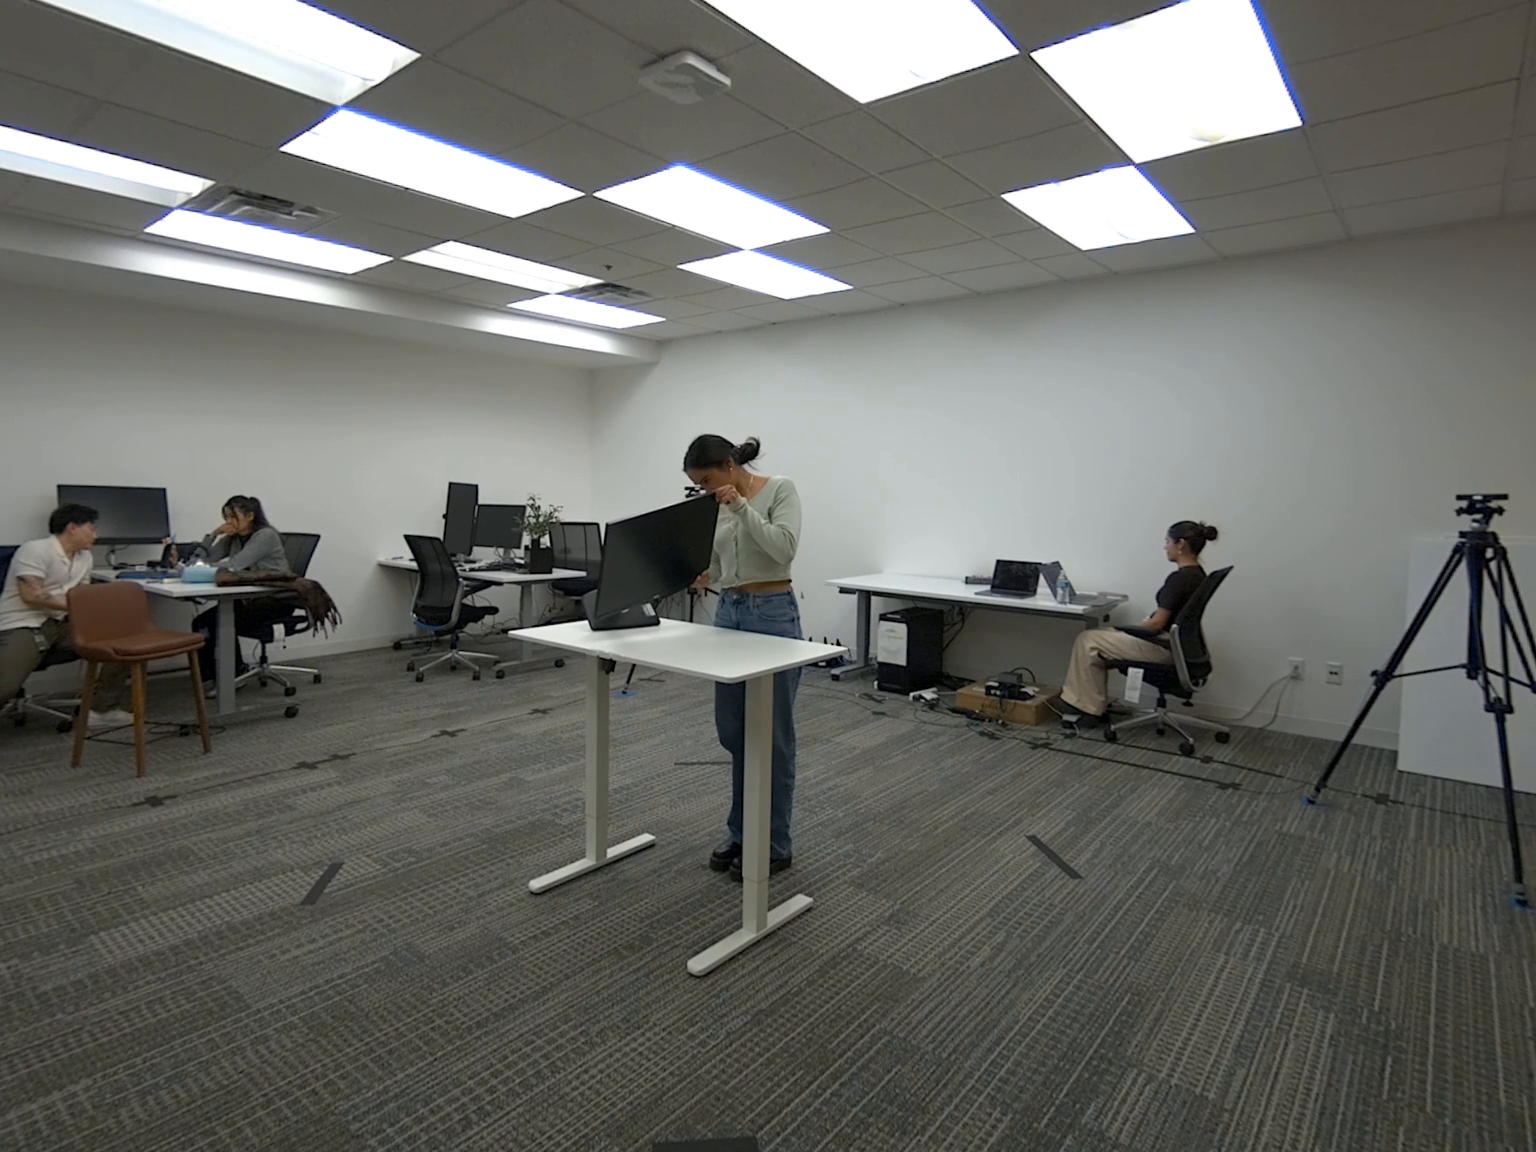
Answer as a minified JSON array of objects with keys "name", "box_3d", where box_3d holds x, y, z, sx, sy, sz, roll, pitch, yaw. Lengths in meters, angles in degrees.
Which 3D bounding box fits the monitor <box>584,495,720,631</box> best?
[{"name":"monitor","box_3d":[-0.427,-0.035,2.917,0.192,0.517,0.529,43,38,19]}]
